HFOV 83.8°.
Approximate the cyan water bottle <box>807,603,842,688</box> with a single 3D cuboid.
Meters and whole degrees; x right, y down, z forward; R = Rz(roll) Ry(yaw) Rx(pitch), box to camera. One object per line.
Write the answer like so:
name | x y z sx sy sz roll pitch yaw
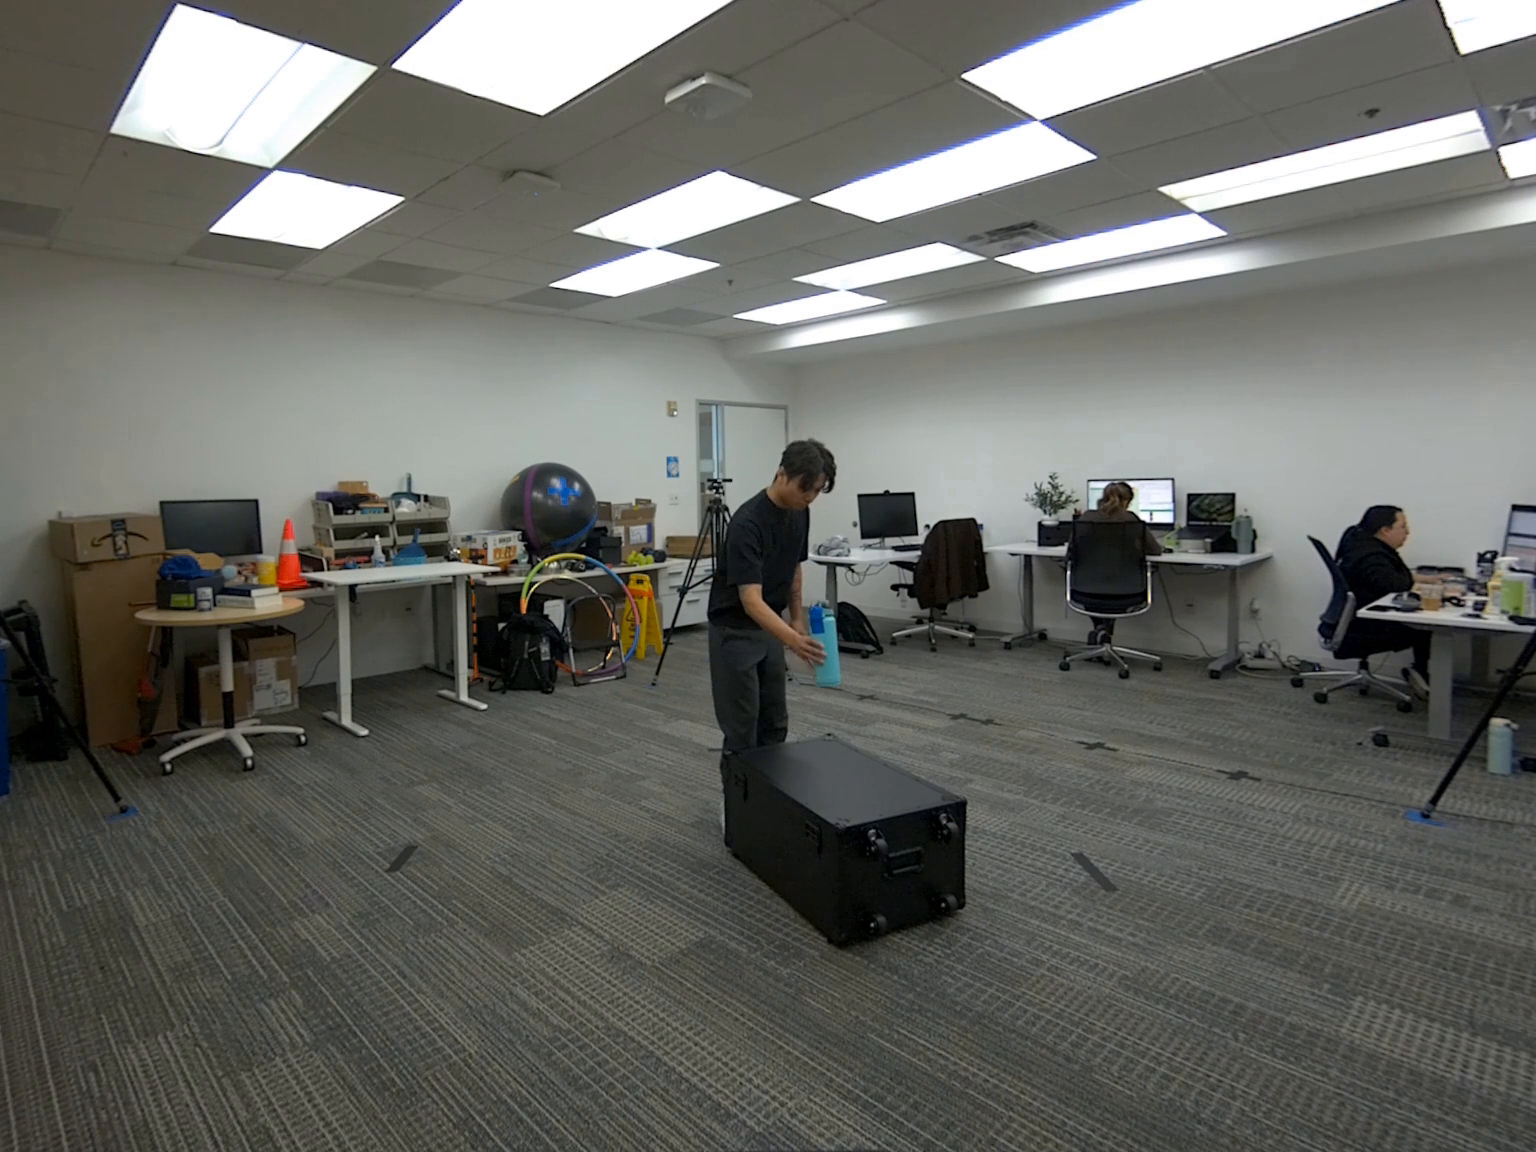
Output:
cyan water bottle | 0.188 0.232 2.885 0.092 0.284 0.092 -6 -2 -2
